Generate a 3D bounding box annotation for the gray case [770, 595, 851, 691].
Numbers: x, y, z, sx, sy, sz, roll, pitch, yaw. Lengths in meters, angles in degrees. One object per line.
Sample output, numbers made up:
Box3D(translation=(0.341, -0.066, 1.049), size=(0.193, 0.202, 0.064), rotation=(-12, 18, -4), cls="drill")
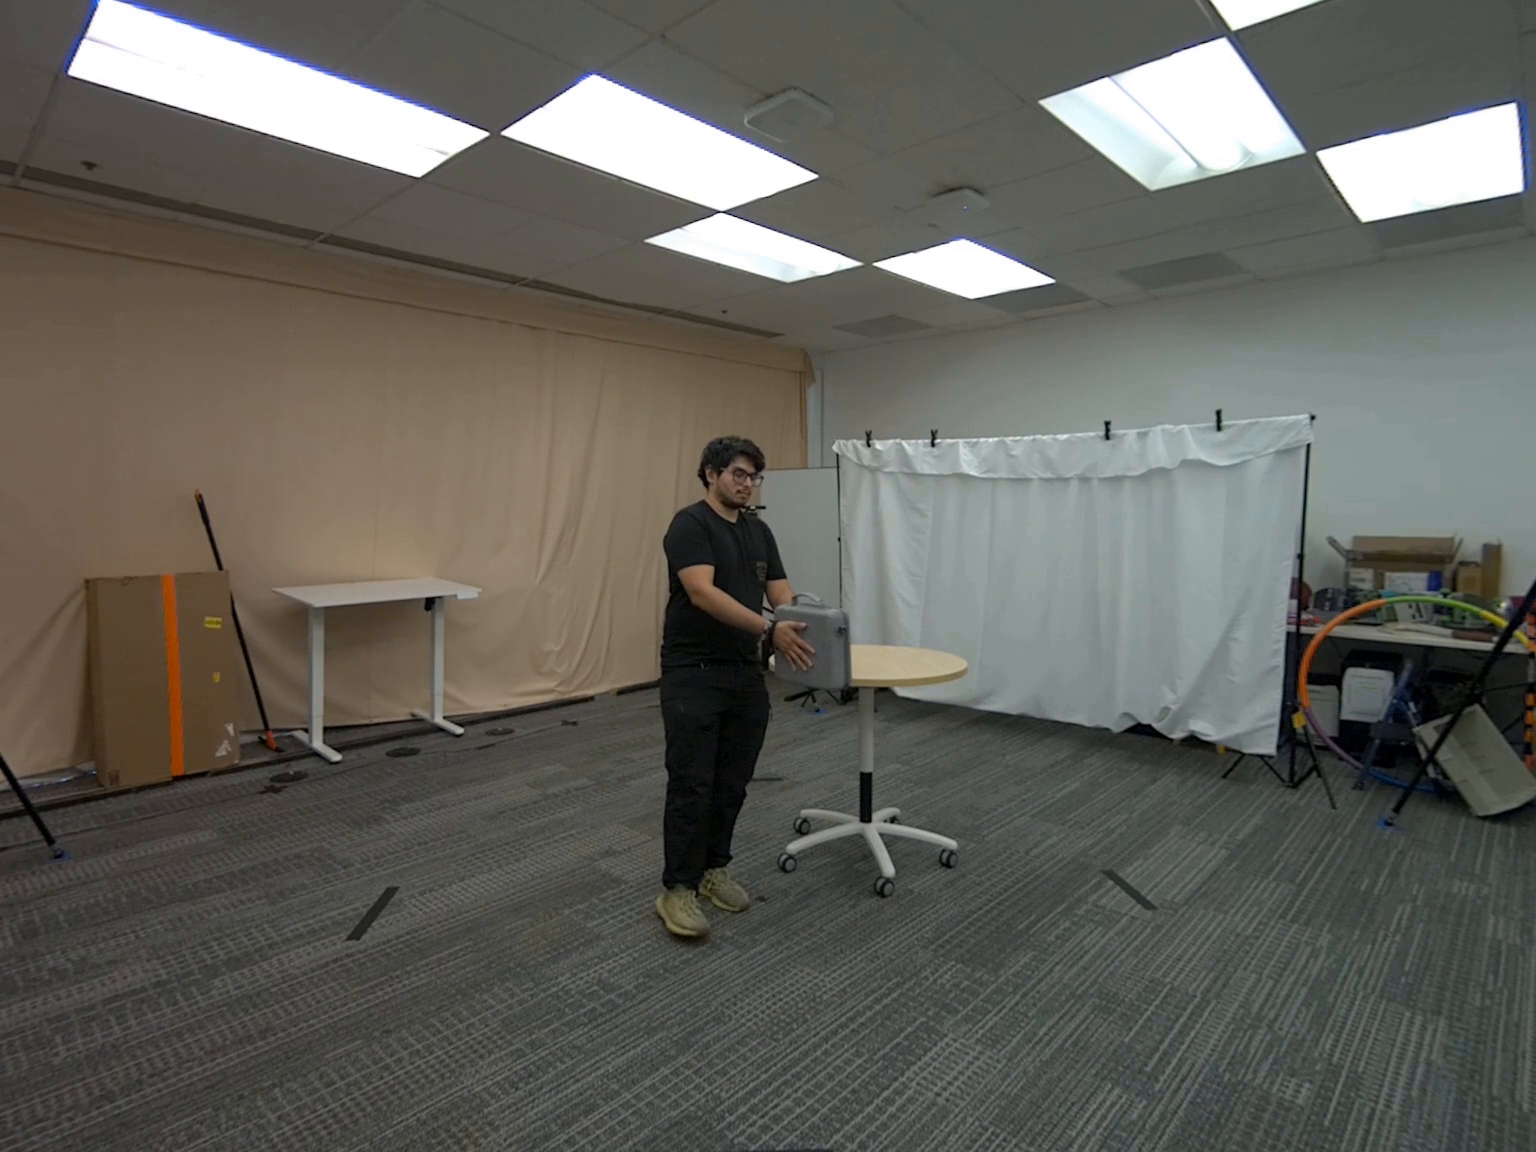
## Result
Box3D(translation=(0.149, 0.220, 2.639), size=(0.265, 0.259, 0.101), rotation=(3, 8, 44), cls="gray case")
